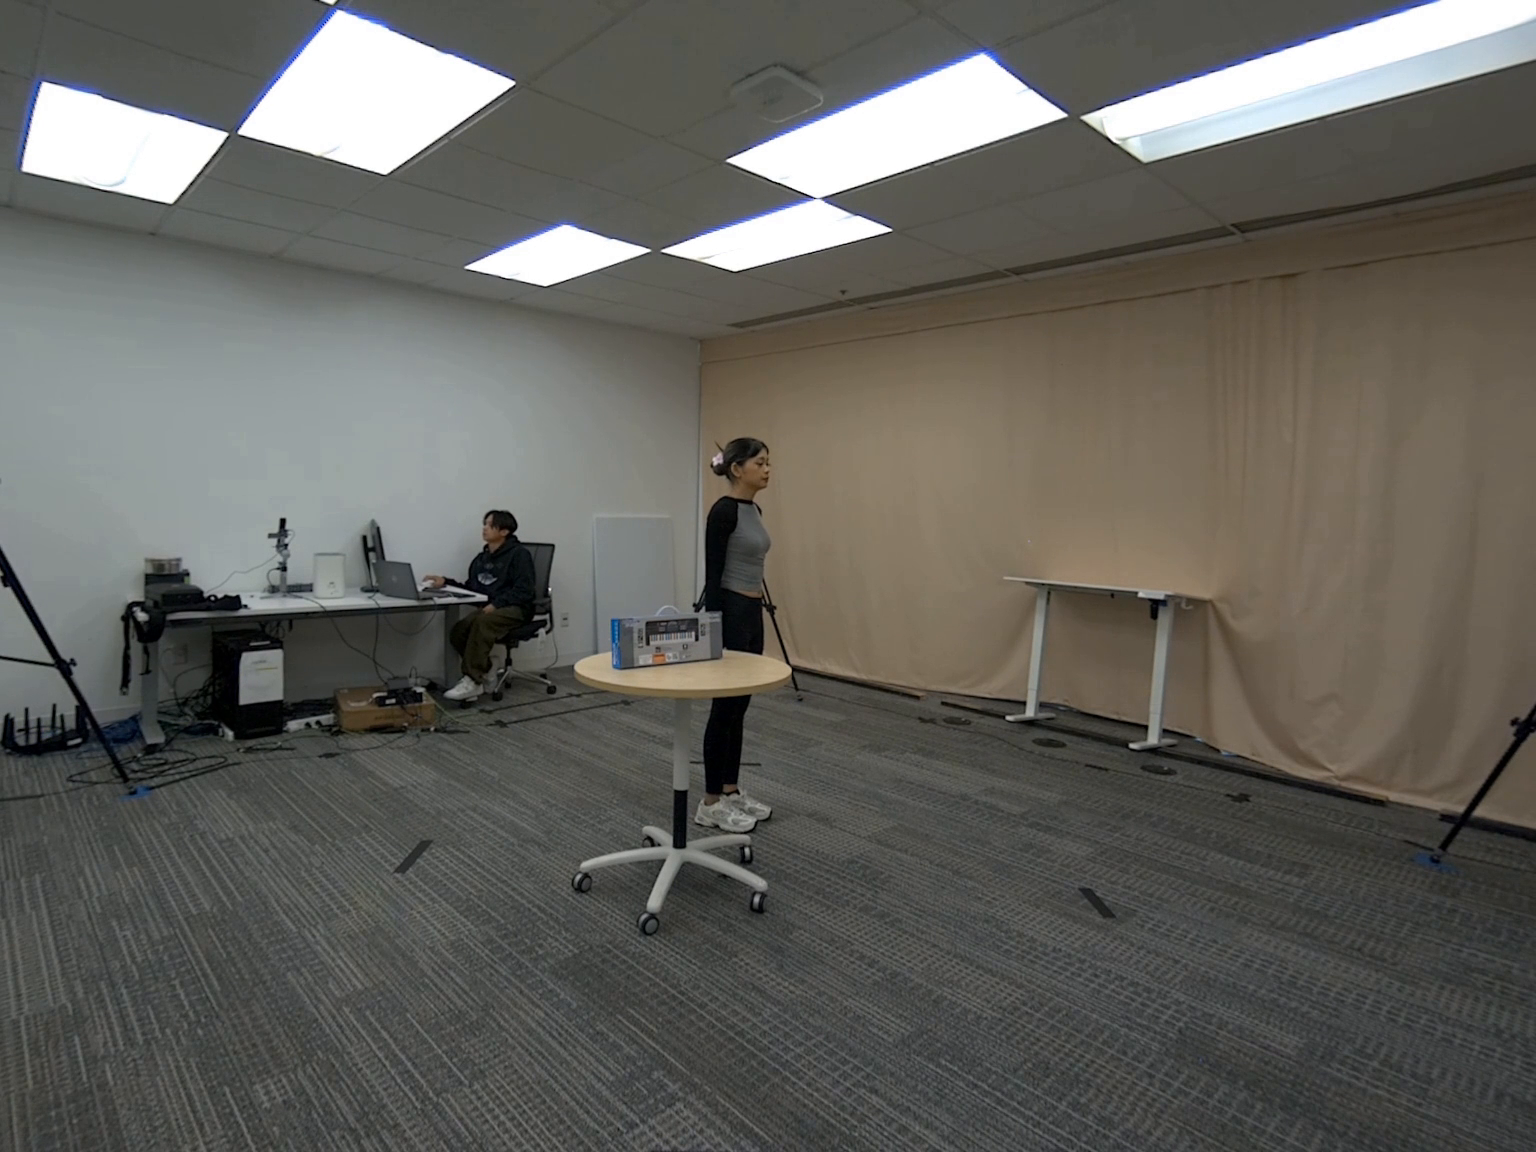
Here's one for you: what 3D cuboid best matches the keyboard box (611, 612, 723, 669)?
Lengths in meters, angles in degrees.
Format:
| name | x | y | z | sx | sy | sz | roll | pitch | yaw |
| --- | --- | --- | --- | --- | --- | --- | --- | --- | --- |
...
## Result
| name | x | y | z | sx | sy | sz | roll | pitch | yaw |
| --- | --- | --- | --- | --- | --- | --- | --- | --- | --- |
| keyboard box | -0.364 | 0.230 | 3.029 | 0.427 | 0.176 | 0.060 | -1 | -1 | -37 |
